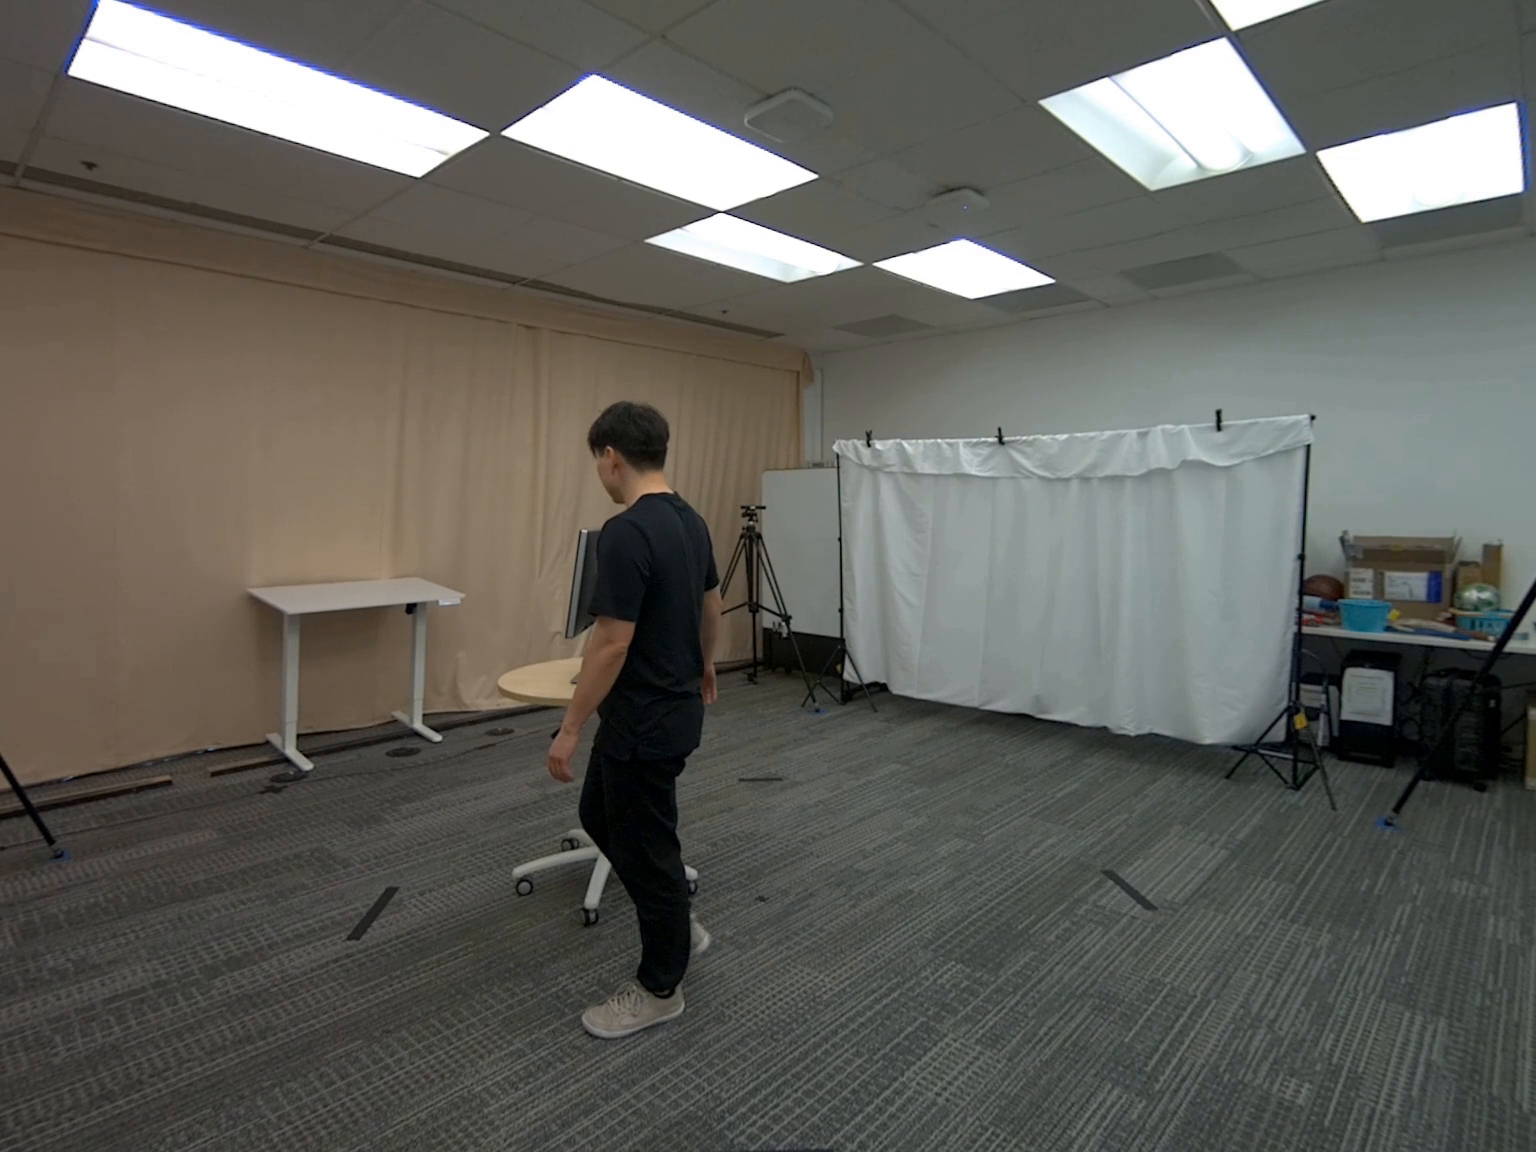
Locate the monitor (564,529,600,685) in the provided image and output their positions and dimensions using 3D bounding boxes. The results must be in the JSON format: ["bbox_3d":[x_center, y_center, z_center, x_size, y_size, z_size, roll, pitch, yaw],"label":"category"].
[{"bbox_3d":[-0.592,0.098,3.031,0.187,0.521,0.541,-2,3,-4],"label":"monitor"}]
